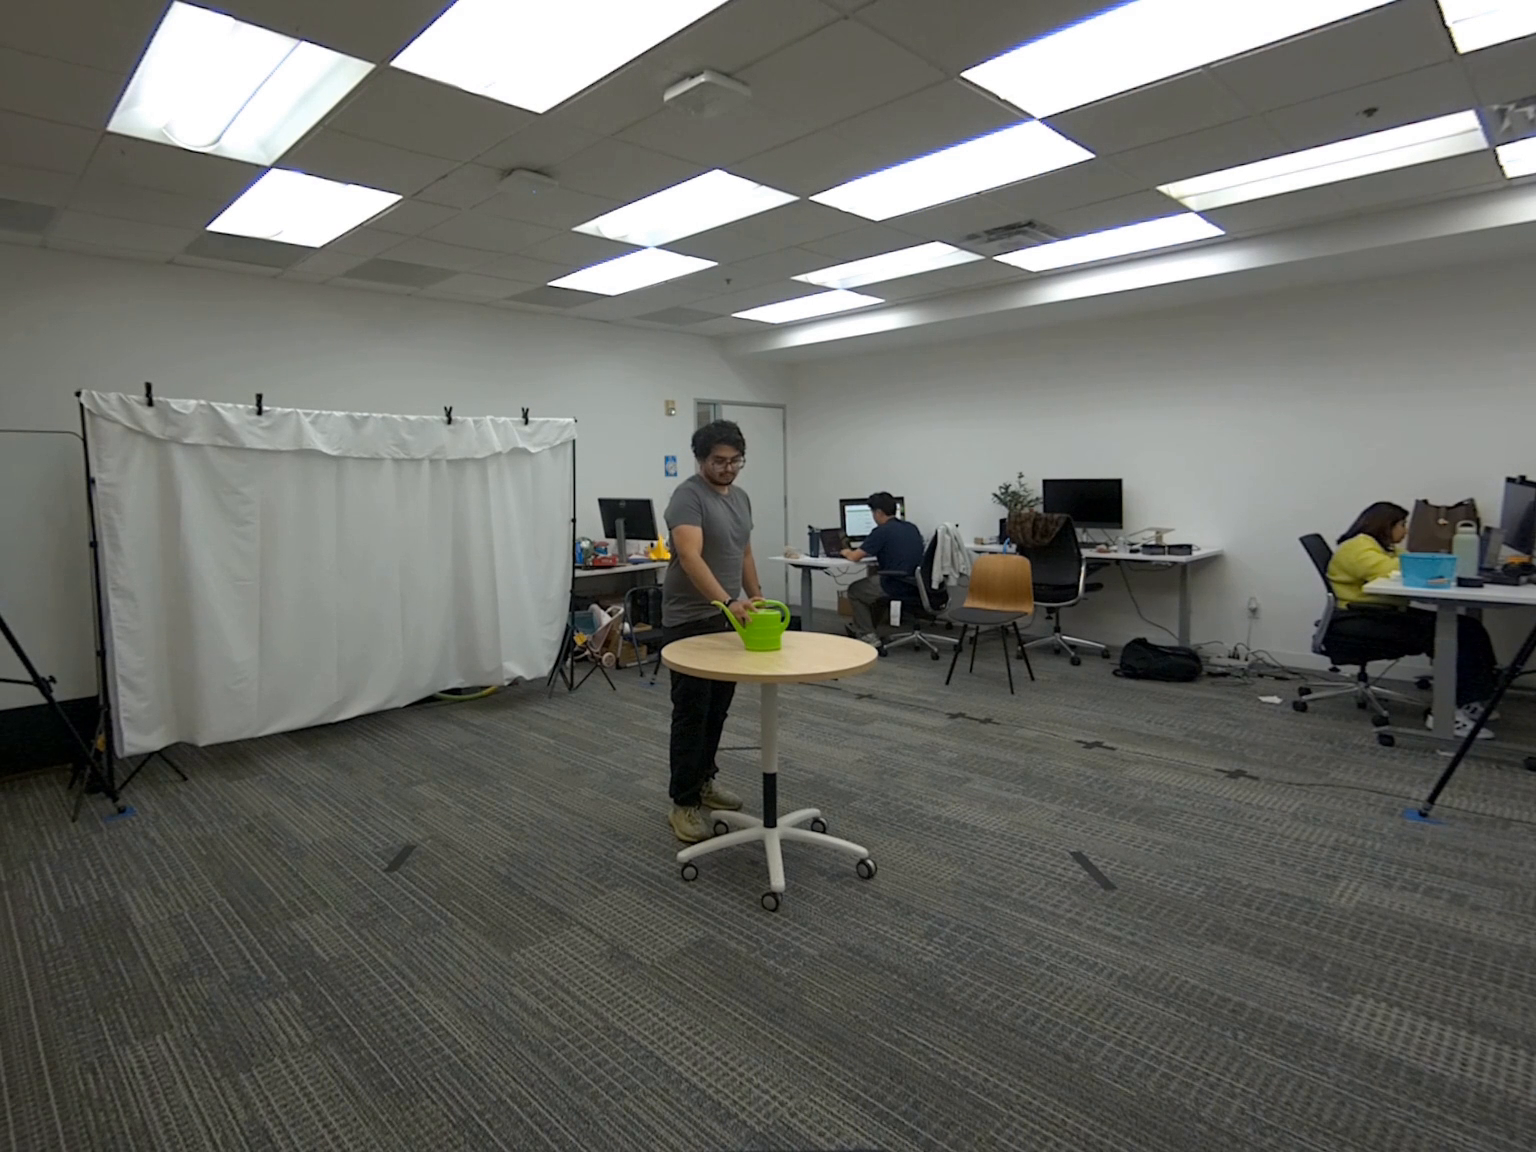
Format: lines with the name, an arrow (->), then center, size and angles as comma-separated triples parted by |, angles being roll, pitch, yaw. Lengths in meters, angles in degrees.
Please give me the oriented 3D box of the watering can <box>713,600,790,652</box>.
watering can -> -0.061, 0.179, 3.073 | 0.279, 0.176, 0.098 | 1, 2, 3
